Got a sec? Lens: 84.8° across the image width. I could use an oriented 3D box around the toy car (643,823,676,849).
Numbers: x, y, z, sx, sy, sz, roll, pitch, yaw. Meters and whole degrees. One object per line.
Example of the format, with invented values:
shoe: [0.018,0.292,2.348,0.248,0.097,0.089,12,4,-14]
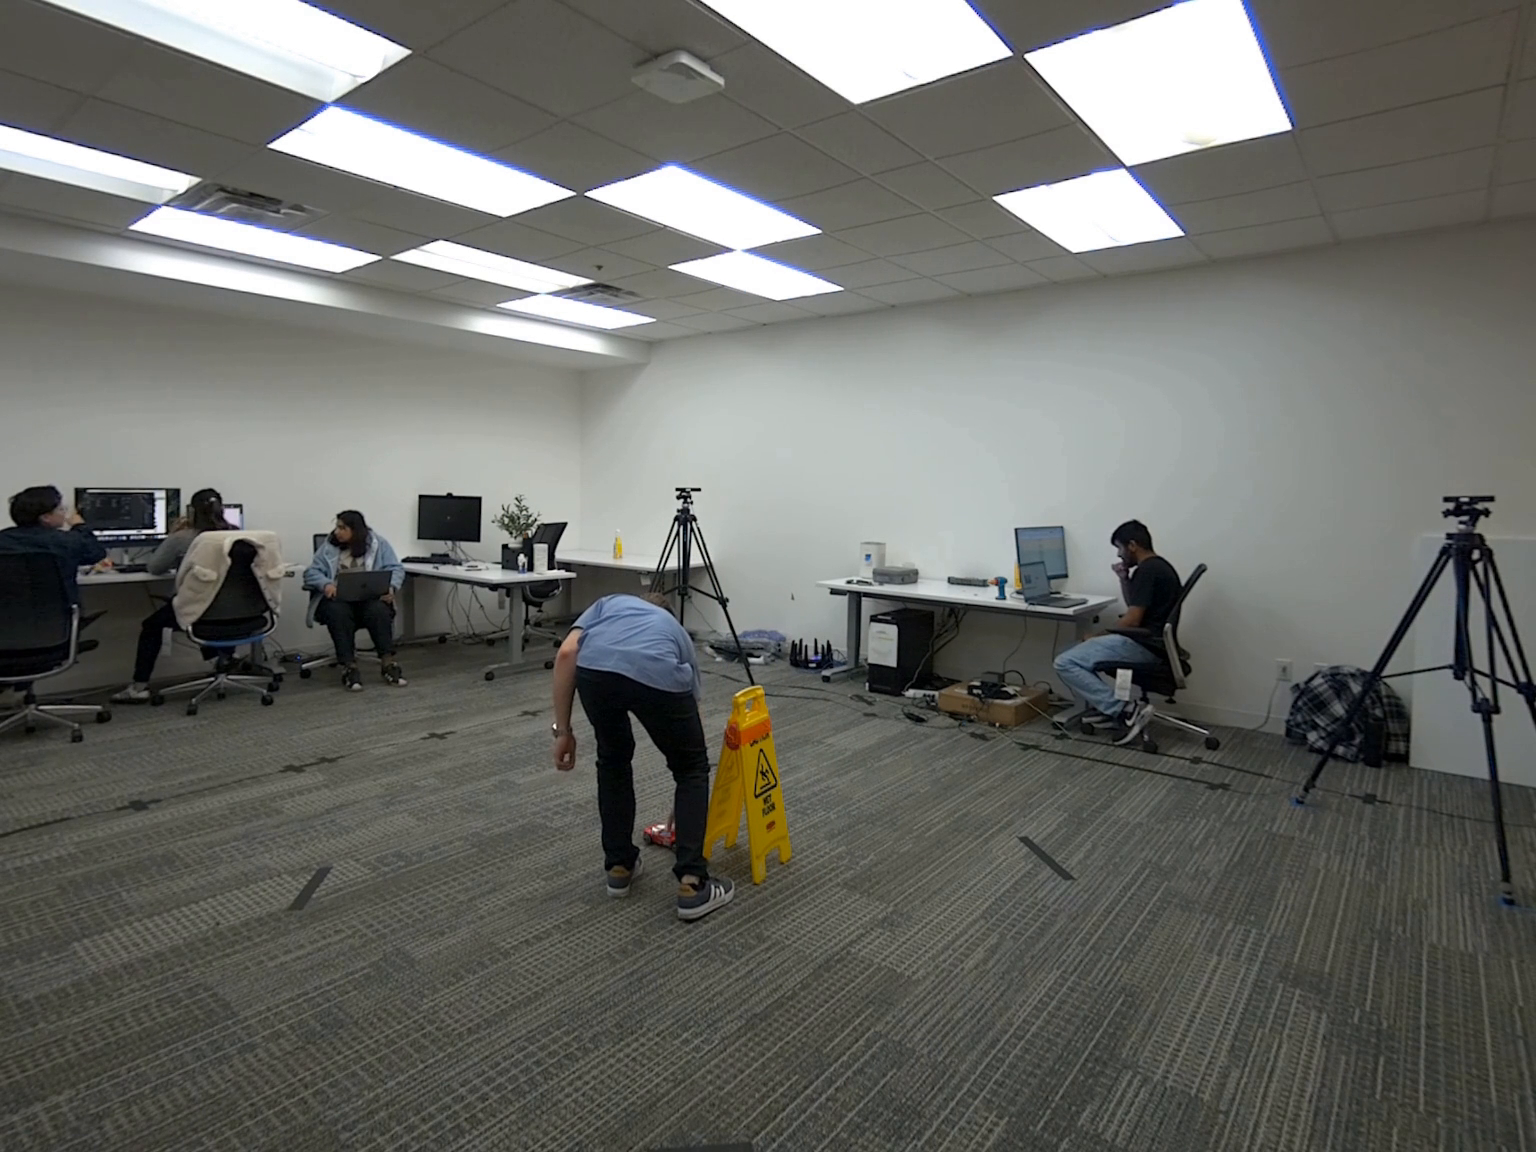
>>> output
toy car: [-0.376,1.023,3.310,0.262,0.083,0.126,-4,-1,36]
